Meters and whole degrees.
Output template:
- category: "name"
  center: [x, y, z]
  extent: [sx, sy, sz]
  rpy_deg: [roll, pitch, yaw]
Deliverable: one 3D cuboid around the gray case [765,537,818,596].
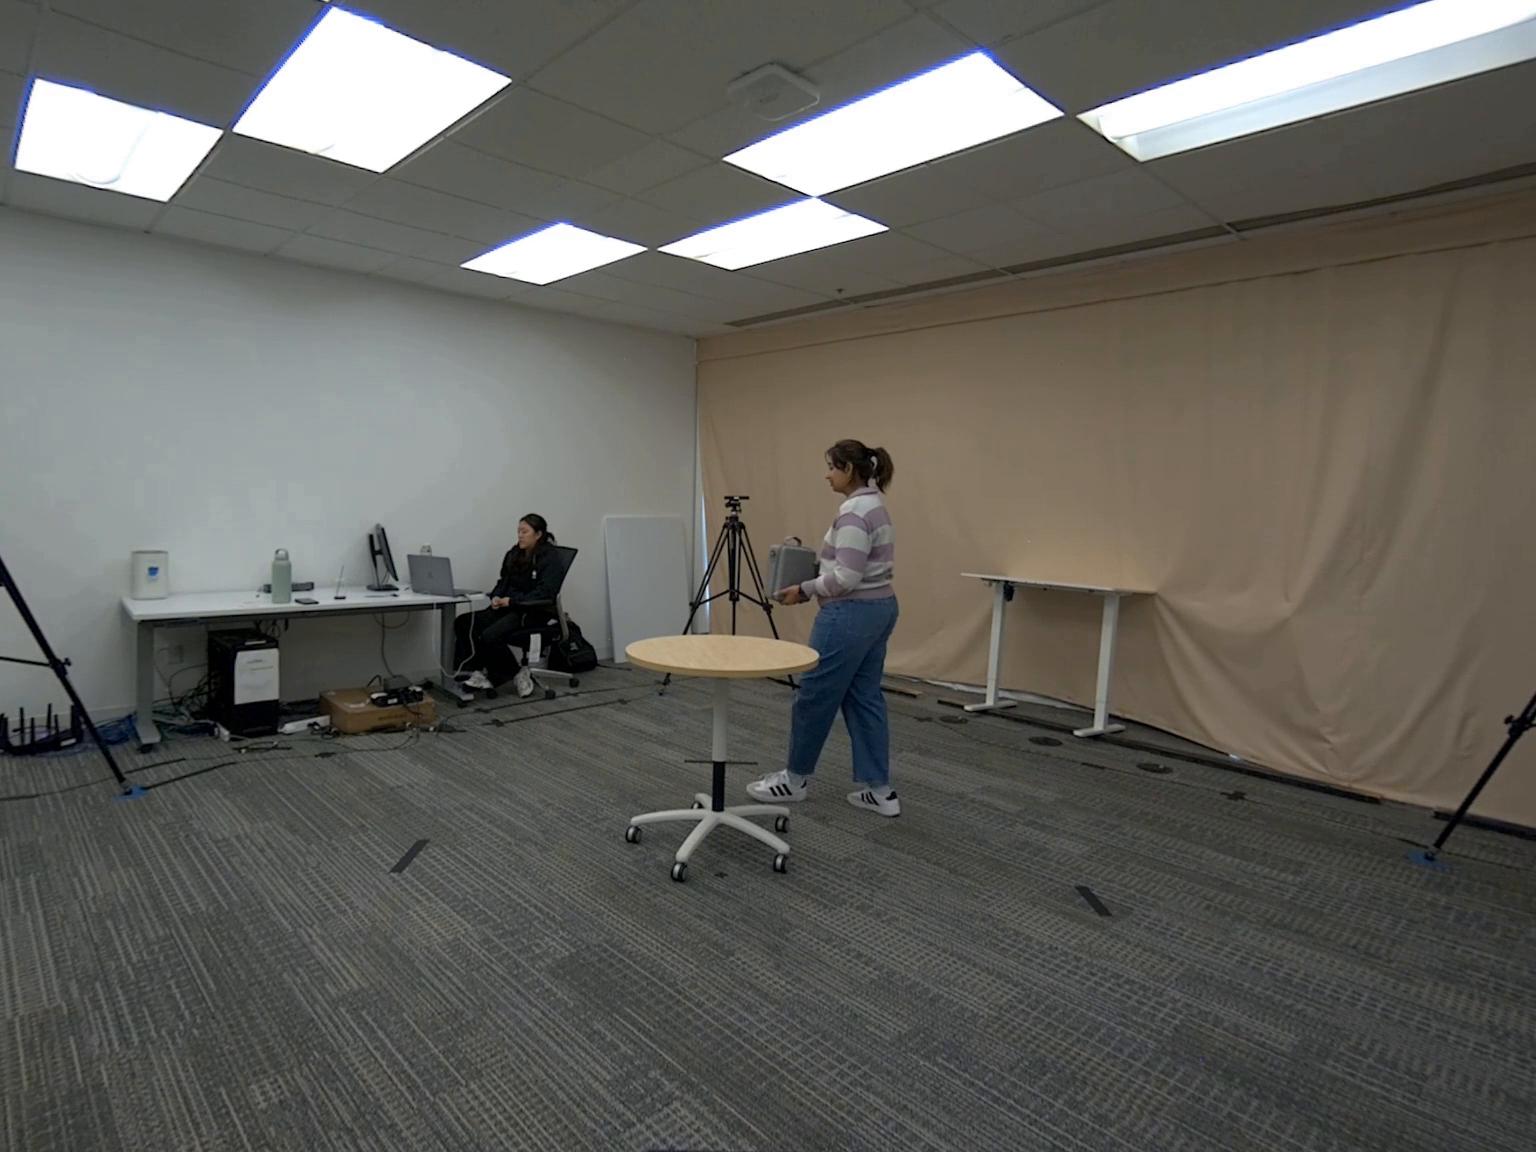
- category: "gray case"
  center: [0.093, -0.017, 3.851]
  extent: [0.250, 0.260, 0.107]
  rpy_deg: [8, 0, -44]
